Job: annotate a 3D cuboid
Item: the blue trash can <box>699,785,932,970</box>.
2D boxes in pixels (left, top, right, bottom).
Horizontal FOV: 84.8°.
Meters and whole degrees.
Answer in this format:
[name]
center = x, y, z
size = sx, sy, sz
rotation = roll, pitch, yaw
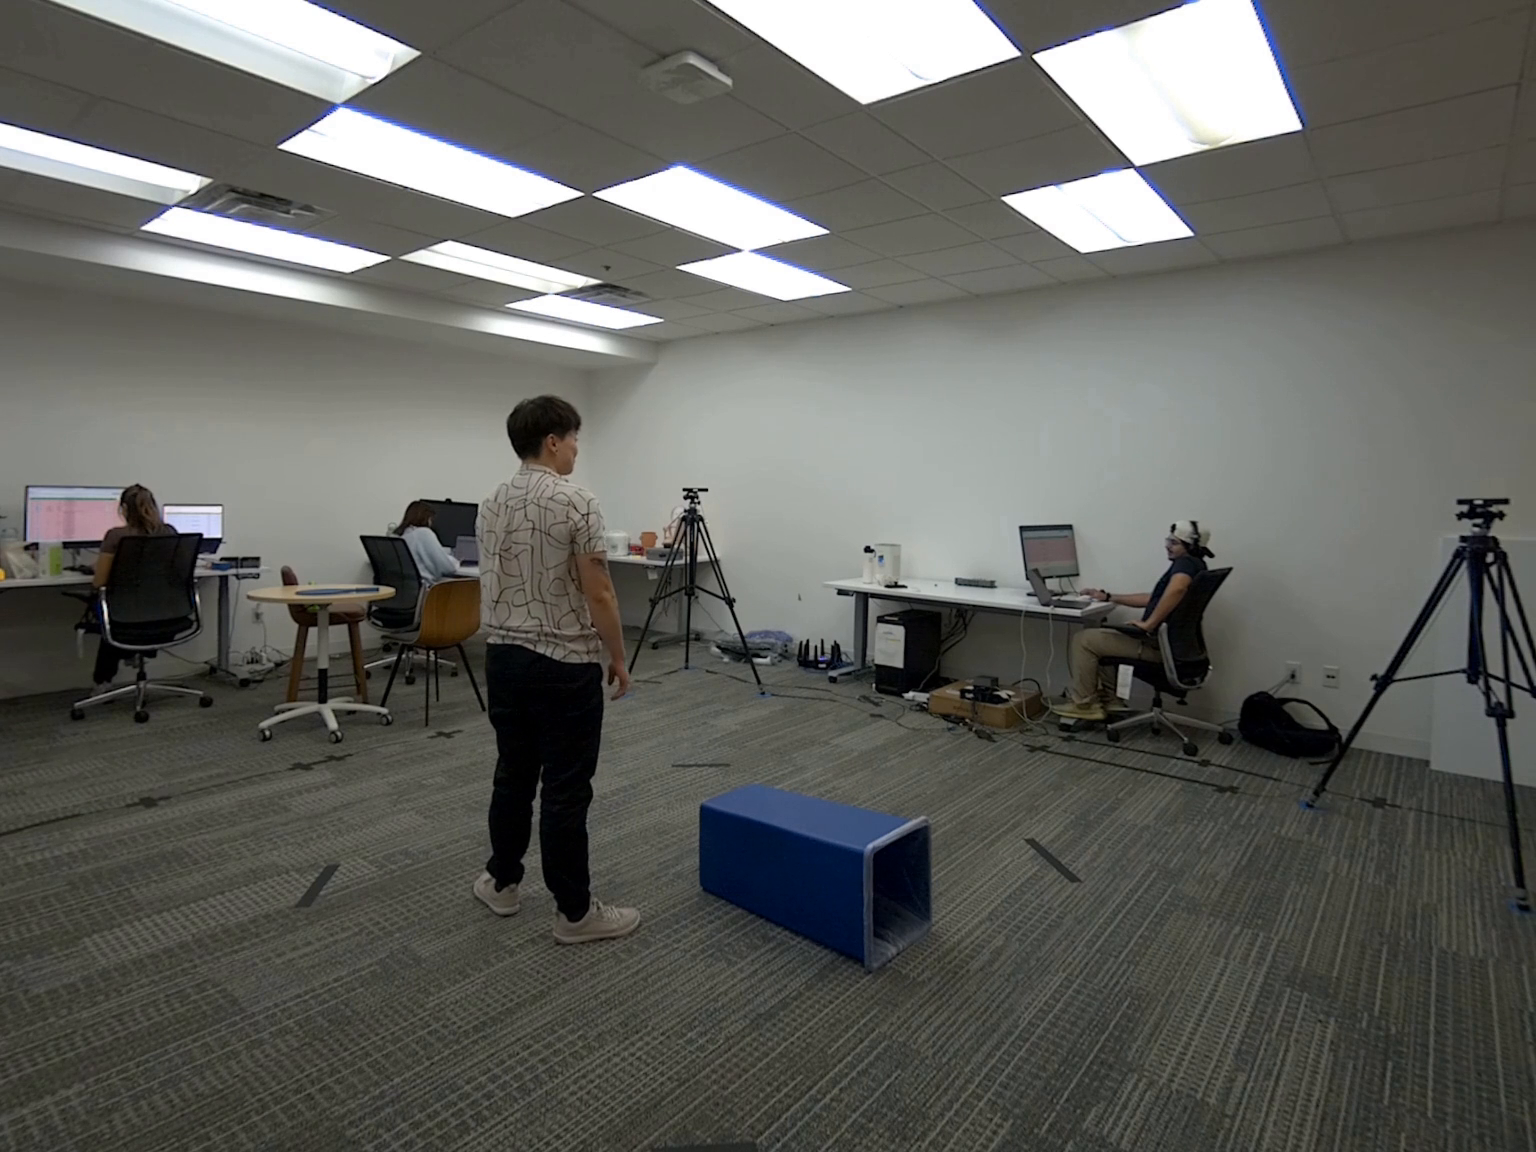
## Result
[blue trash can]
center = 0.126, 0.935, 2.819
size = 0.737, 0.377, 0.363
rotation = 4, 5, 42
